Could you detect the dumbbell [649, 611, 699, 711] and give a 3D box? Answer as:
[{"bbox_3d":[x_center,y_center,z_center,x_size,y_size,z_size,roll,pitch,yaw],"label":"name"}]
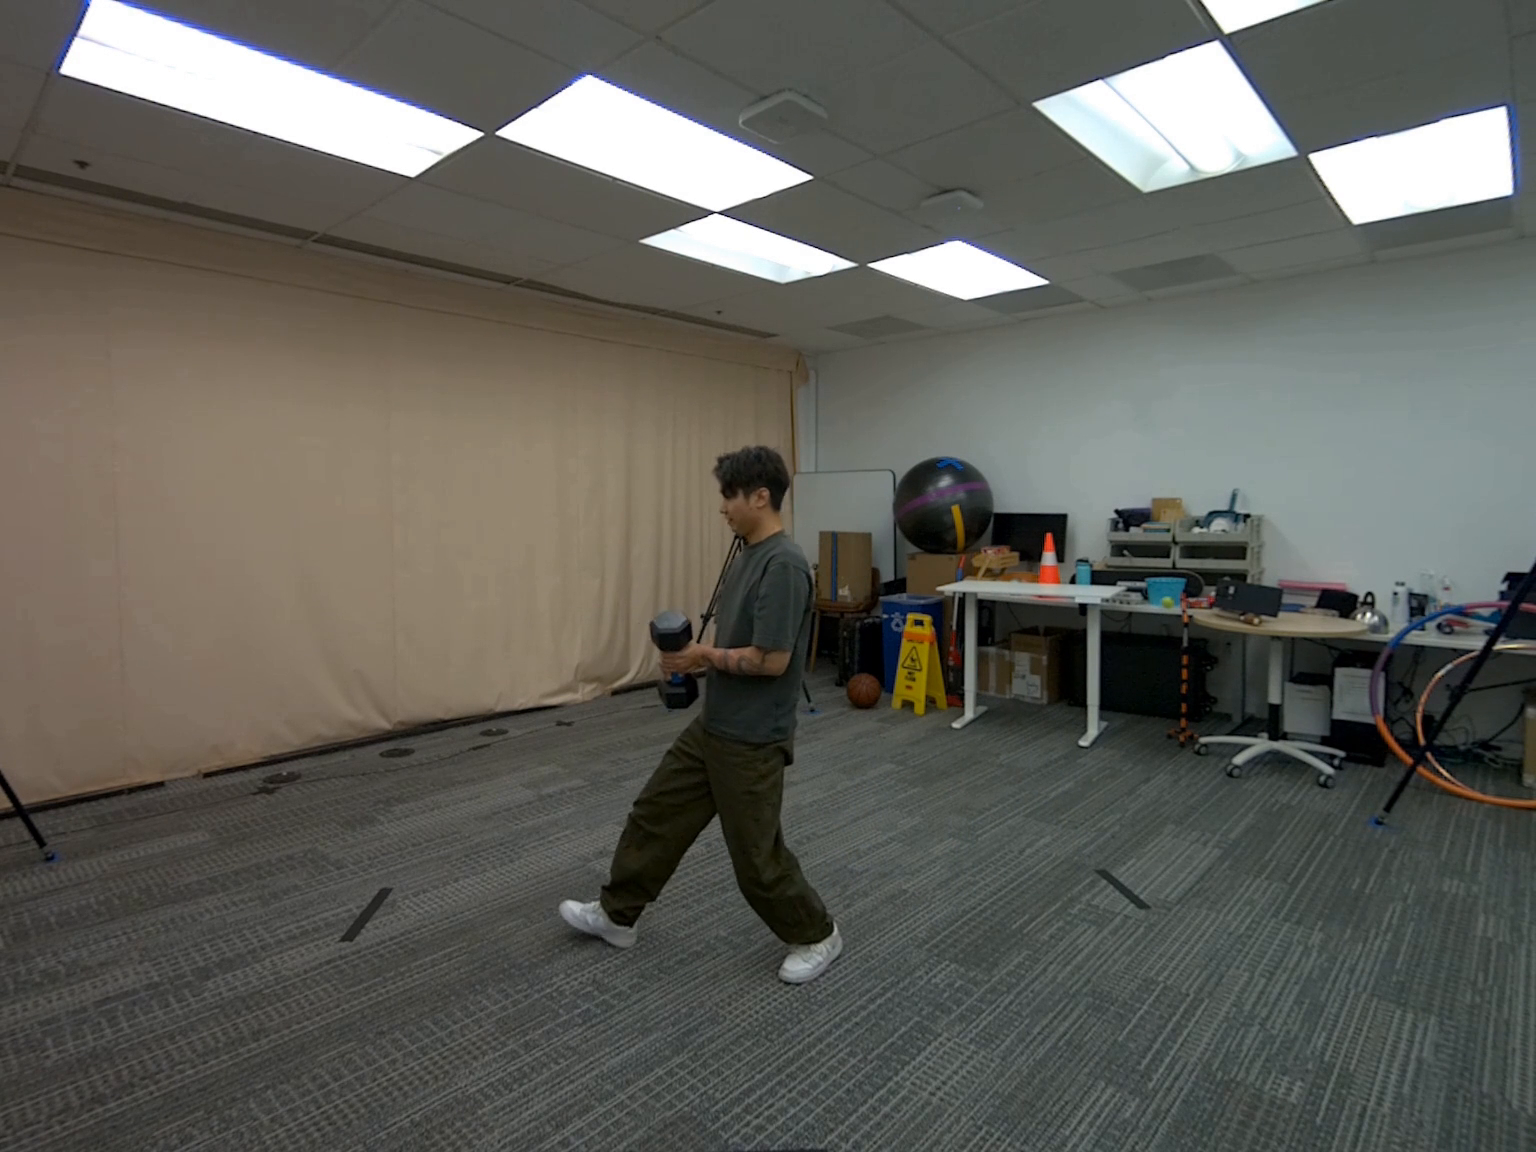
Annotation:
[{"bbox_3d":[-0.275,0.257,2.486,0.112,0.288,0.121,13,32,28],"label":"dumbbell"}]
